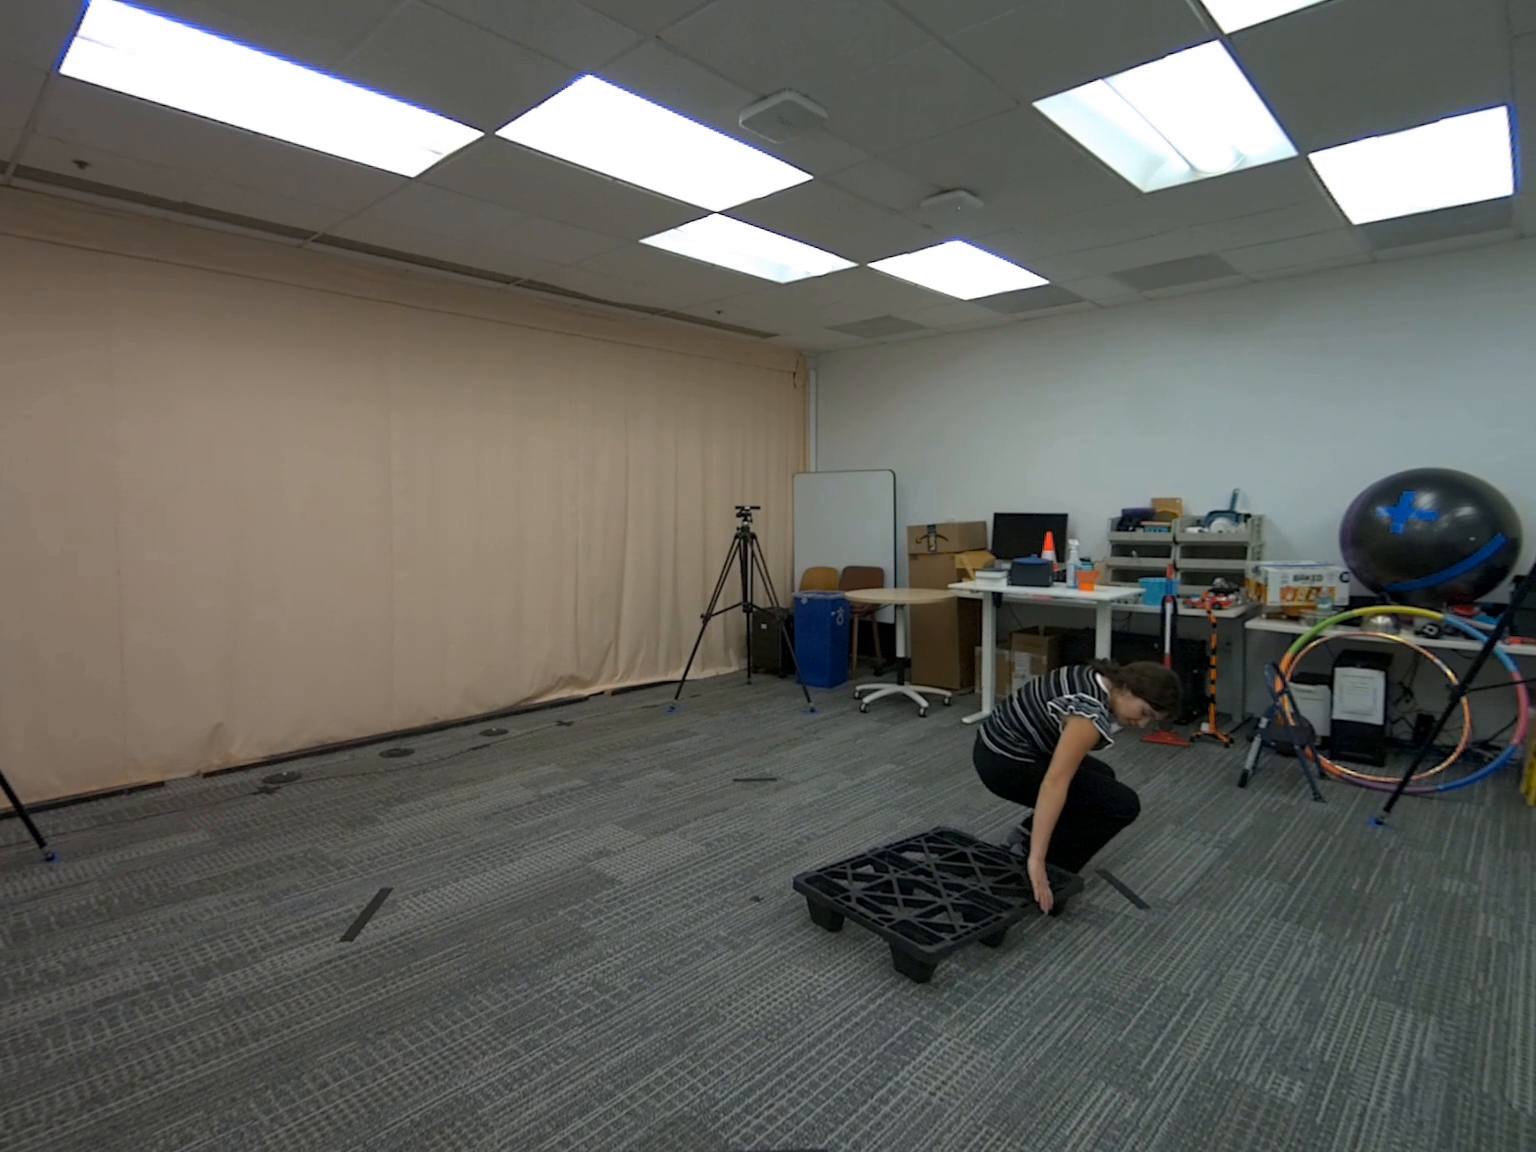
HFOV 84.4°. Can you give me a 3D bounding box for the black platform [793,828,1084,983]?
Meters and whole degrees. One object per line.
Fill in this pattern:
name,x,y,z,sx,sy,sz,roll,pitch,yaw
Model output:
black platform,0.583,1.087,2.839,0.782,0.143,0.625,-4,7,-38
